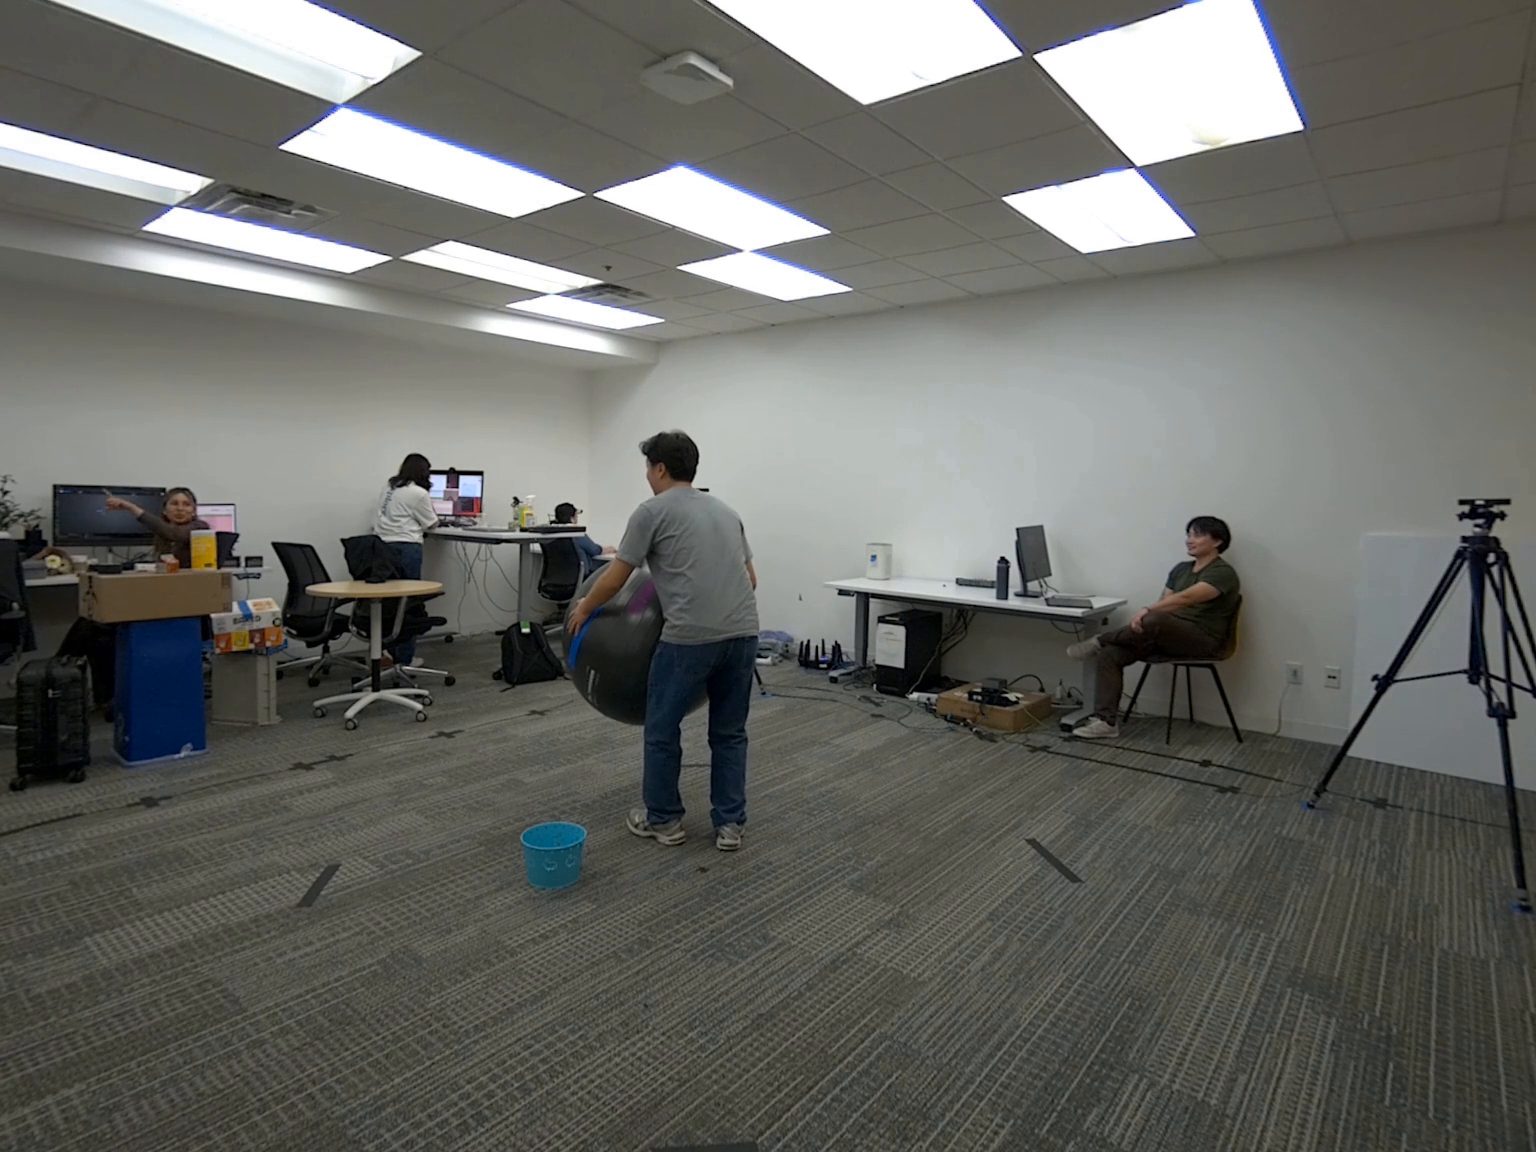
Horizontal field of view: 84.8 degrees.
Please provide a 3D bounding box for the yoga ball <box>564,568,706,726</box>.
[{"bbox_3d":[-0.554,0.279,3.774,0.757,0.756,0.761,1,4,-2],"label":"yoga ball"}]
